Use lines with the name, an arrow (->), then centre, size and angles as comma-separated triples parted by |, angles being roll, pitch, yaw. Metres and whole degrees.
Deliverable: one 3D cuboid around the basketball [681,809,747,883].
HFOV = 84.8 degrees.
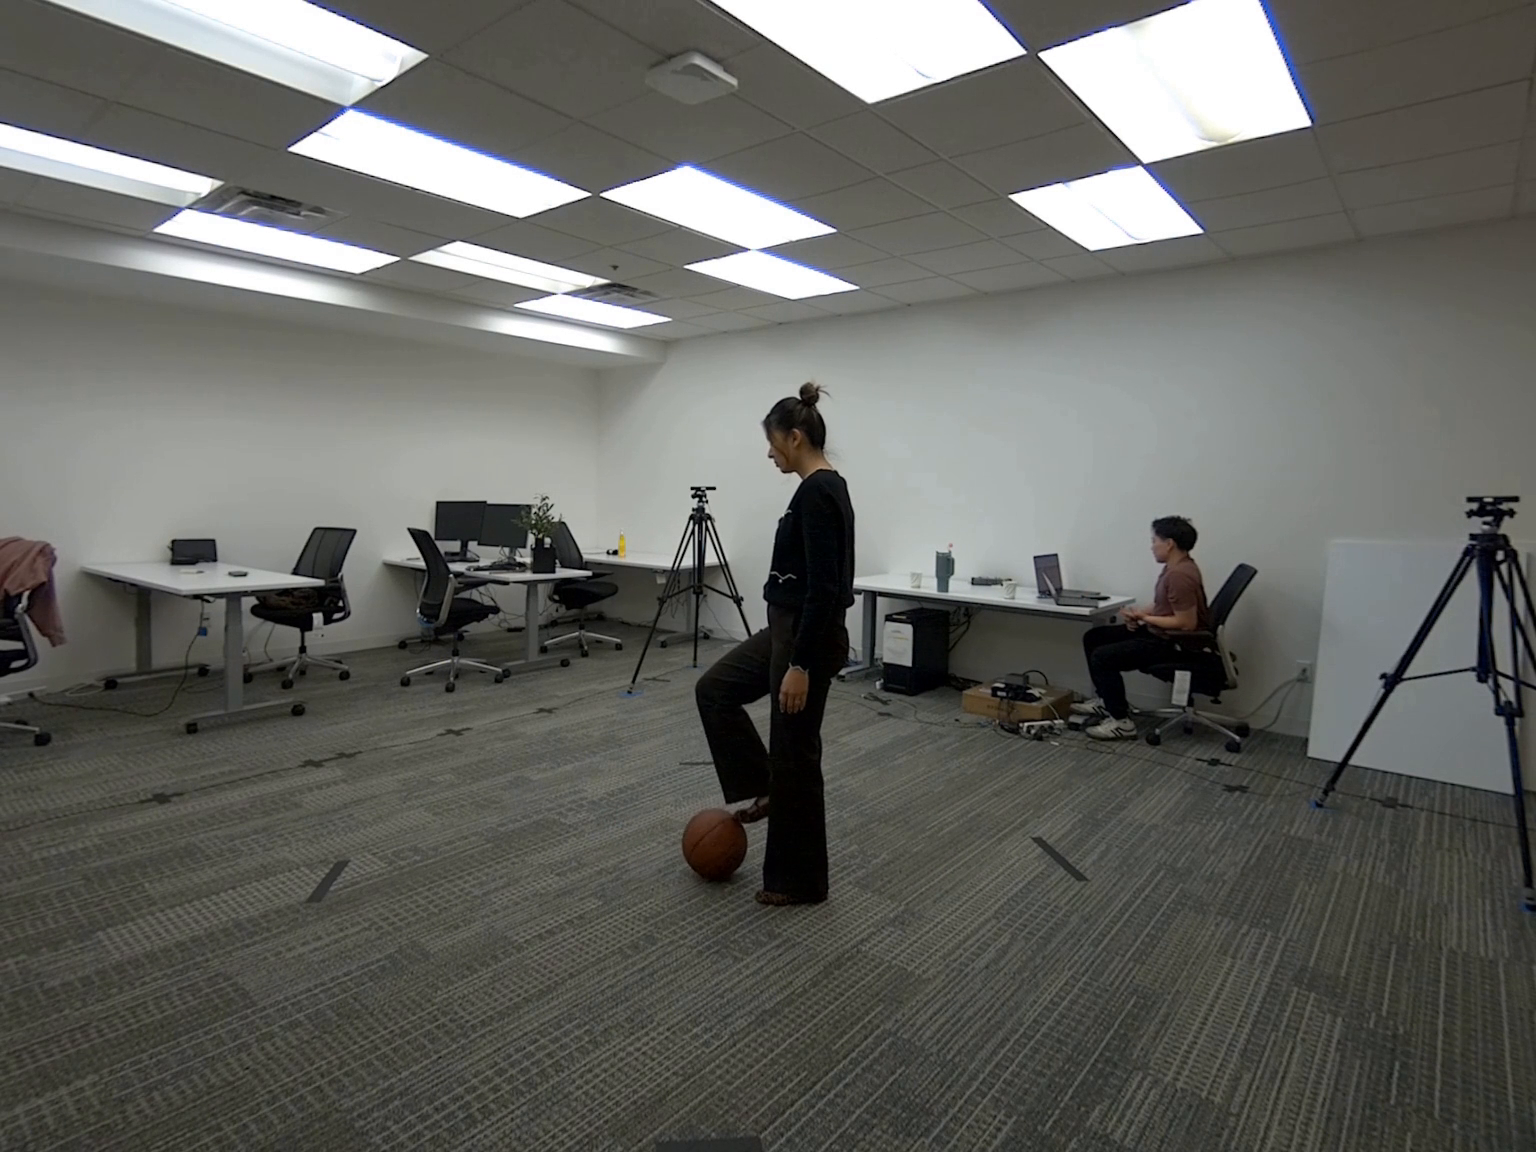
basketball -> -0.209, 0.953, 3.049 | 0.235, 0.235, 0.237 | 1, 4, -2
